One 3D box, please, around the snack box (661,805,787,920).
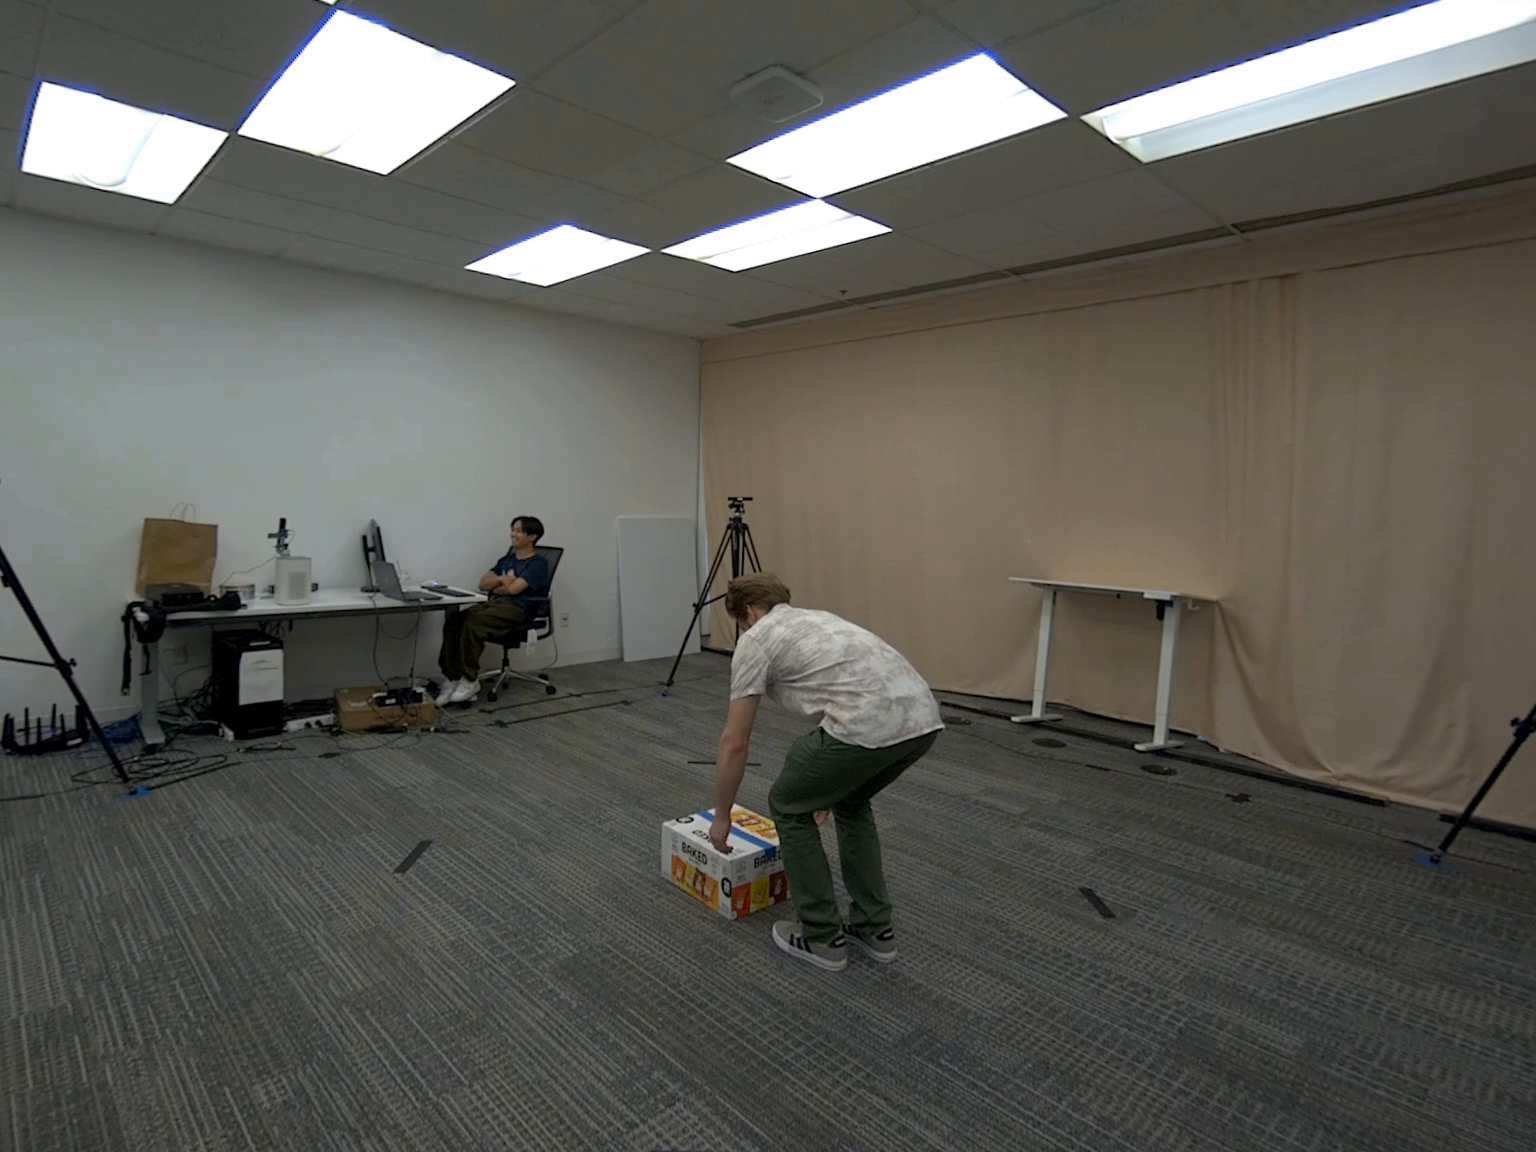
[{"bbox_3d":[-0.135,1.015,3.025,0.332,0.205,0.415,-2,6,-40],"label":"snack box"}]
